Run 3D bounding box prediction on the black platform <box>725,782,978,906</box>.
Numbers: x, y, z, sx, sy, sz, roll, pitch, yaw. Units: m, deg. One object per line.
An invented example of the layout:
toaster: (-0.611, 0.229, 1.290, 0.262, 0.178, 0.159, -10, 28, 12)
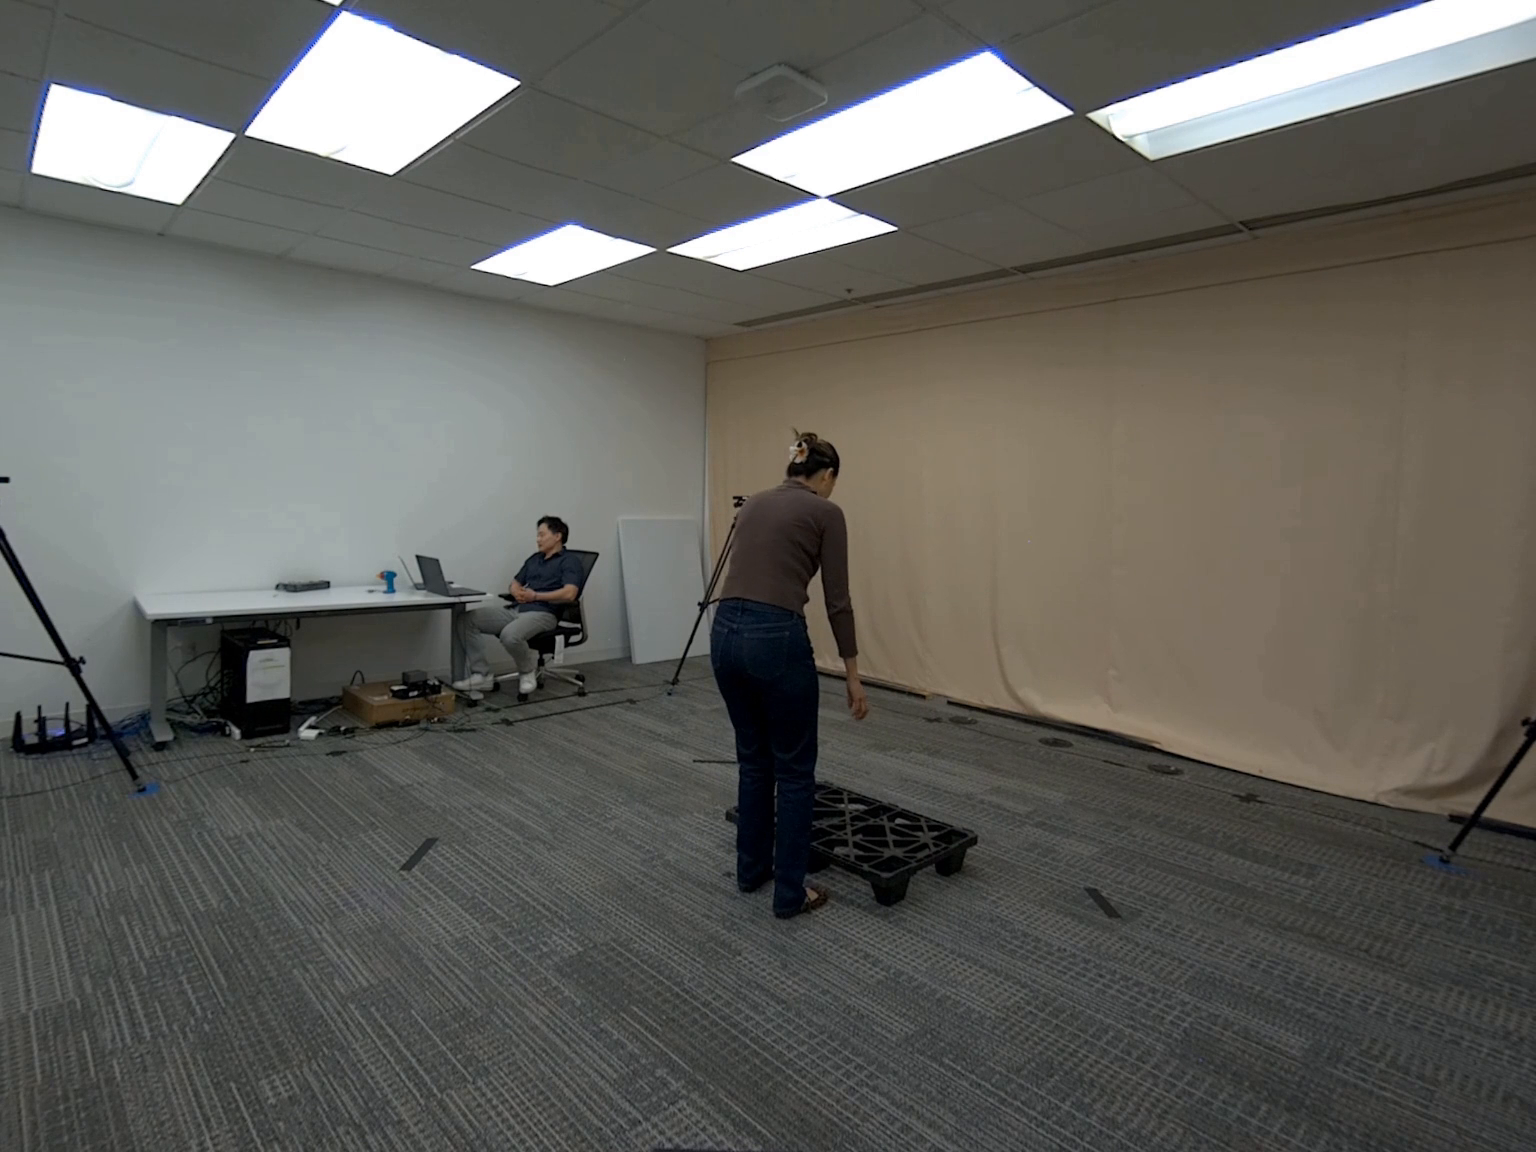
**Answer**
black platform: (0.306, 1.030, 3.292, 0.591, 0.143, 0.826, -4, 7, -45)
